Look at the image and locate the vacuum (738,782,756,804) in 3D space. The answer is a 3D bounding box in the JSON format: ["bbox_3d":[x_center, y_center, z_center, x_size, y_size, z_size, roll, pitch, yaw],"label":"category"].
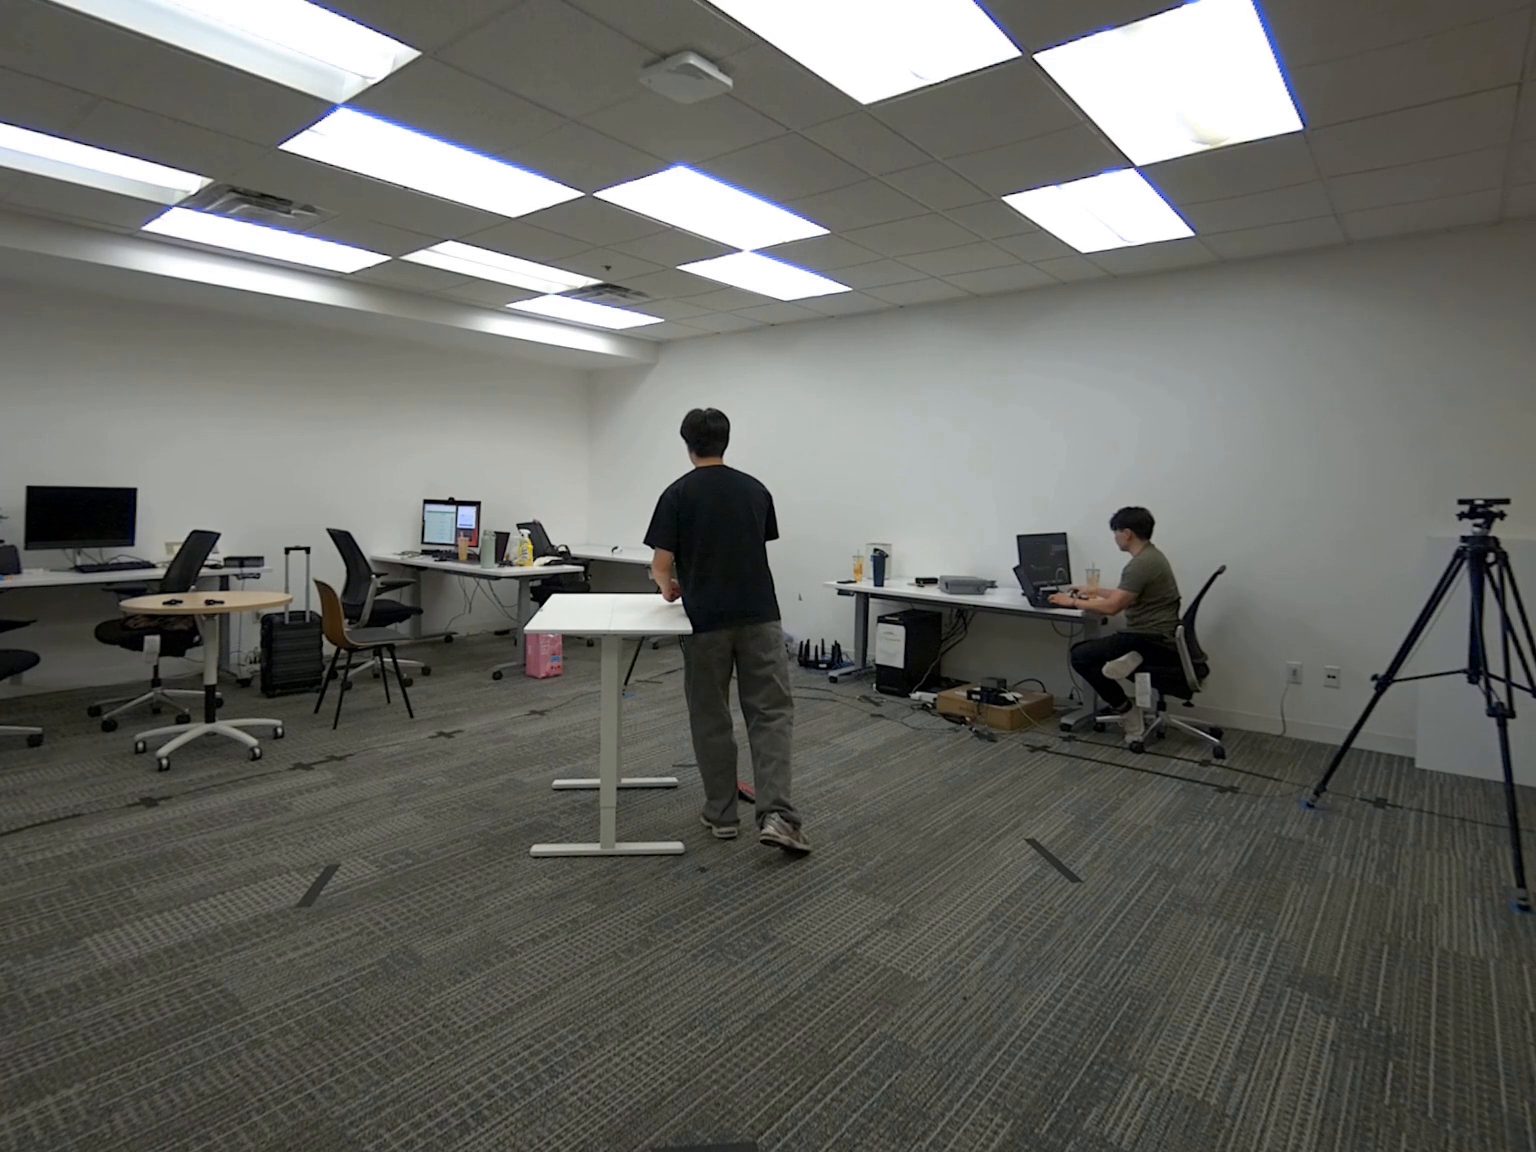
[{"bbox_3d":[-0.284,0.506,3.788,0.142,1.035,0.260,-21,12,-26],"label":"vacuum"}]
